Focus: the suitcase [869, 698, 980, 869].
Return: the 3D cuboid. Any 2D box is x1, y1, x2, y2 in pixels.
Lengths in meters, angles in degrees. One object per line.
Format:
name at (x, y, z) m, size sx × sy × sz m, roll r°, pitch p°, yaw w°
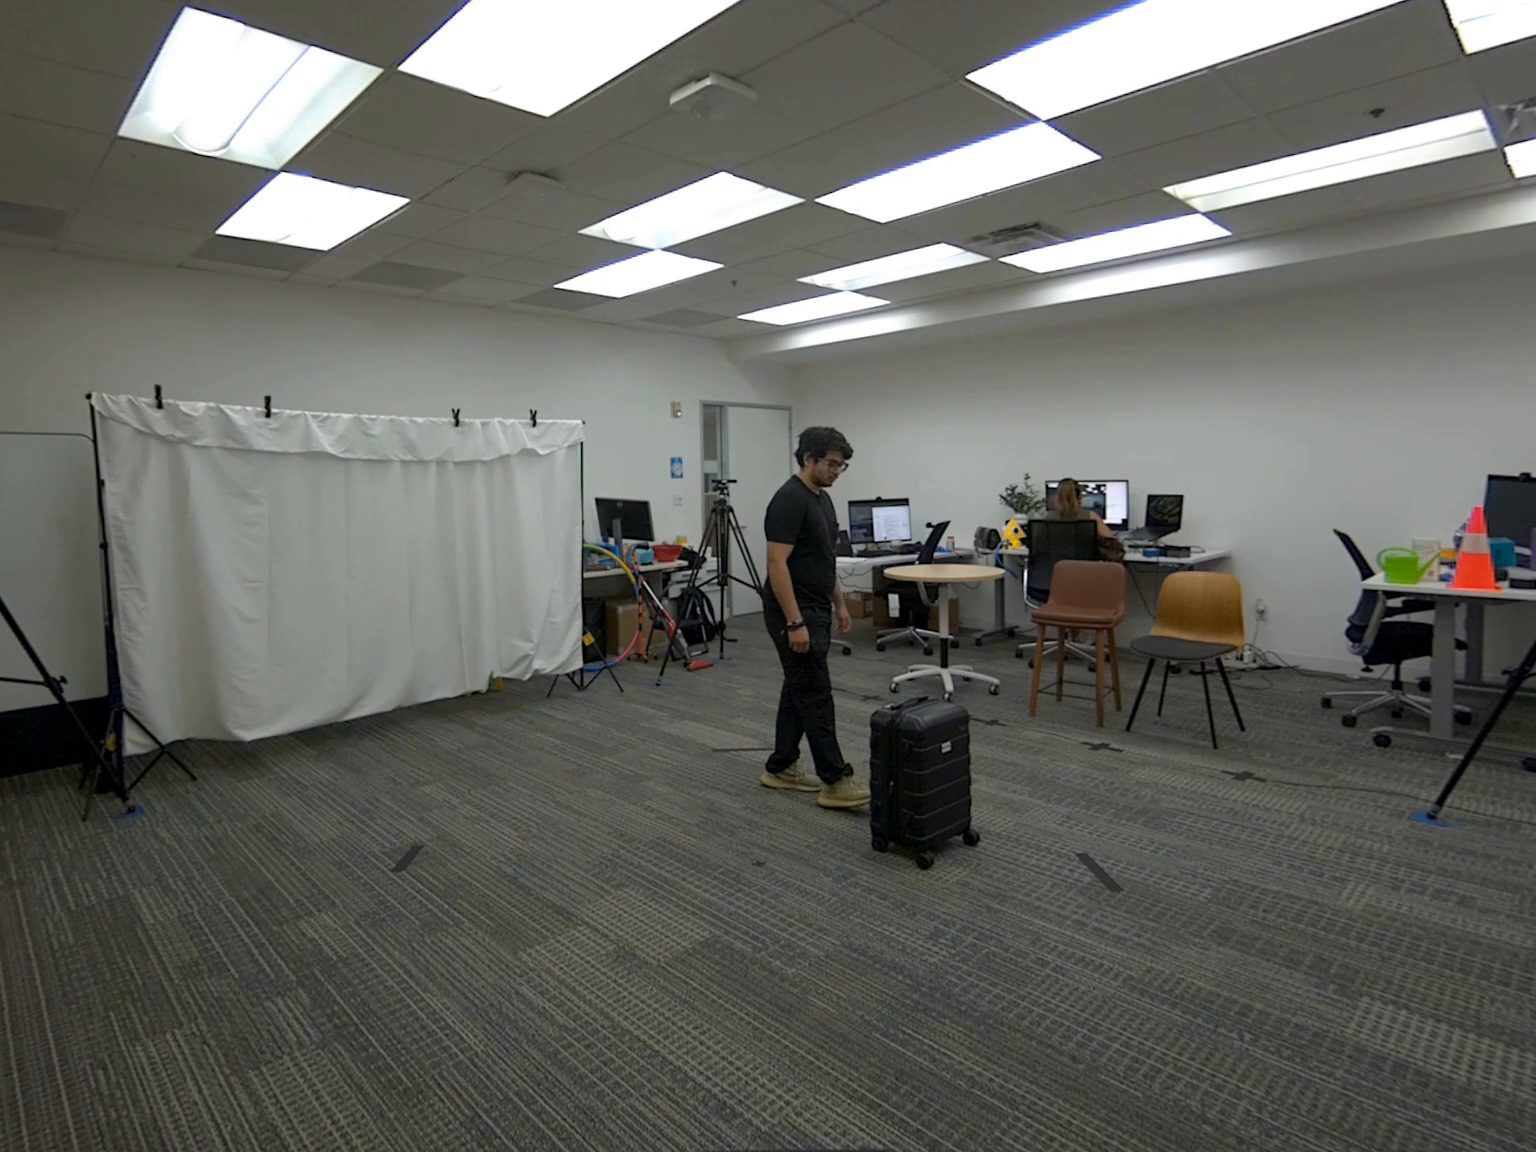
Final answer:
suitcase at (0.586, 0.746, 3.221) m, size 0.365 × 0.548 × 0.255 m, roll -4°, pitch 3°, yaw -42°
